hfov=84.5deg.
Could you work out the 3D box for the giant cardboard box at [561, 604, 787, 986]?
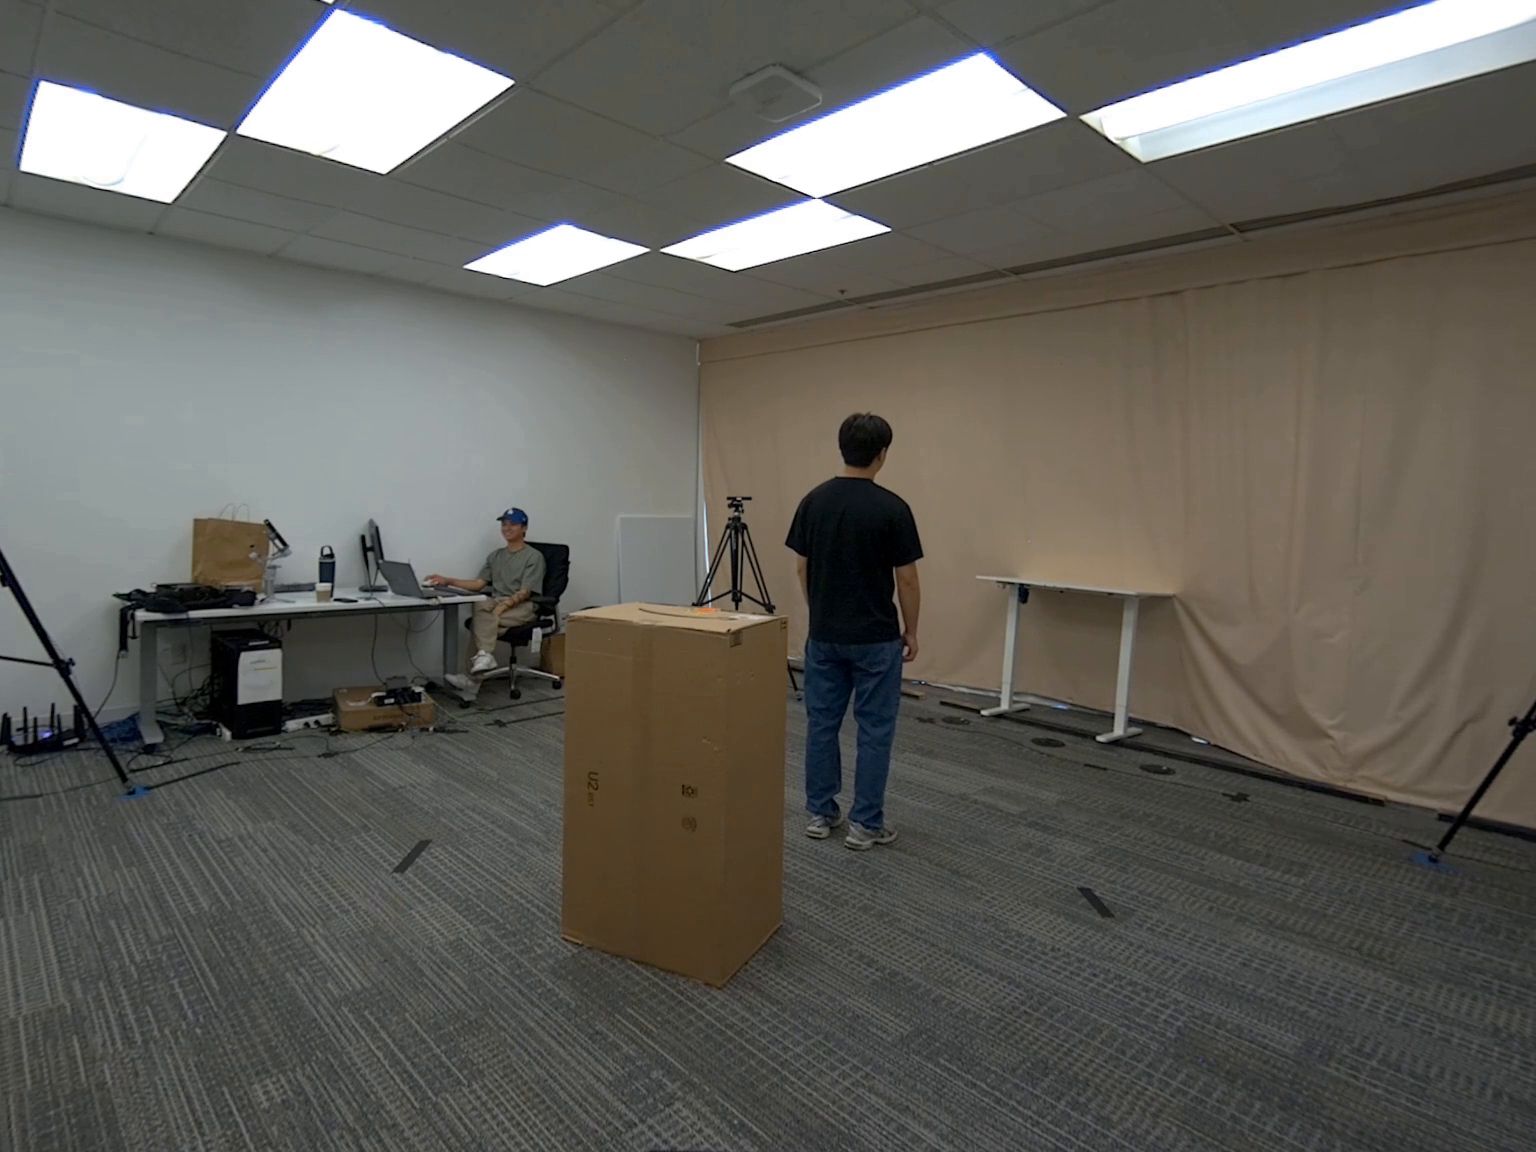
[{"bbox_3d":[-0.295,0.631,2.677,0.596,1.025,0.438,3,2,28],"label":"giant cardboard box"}]
